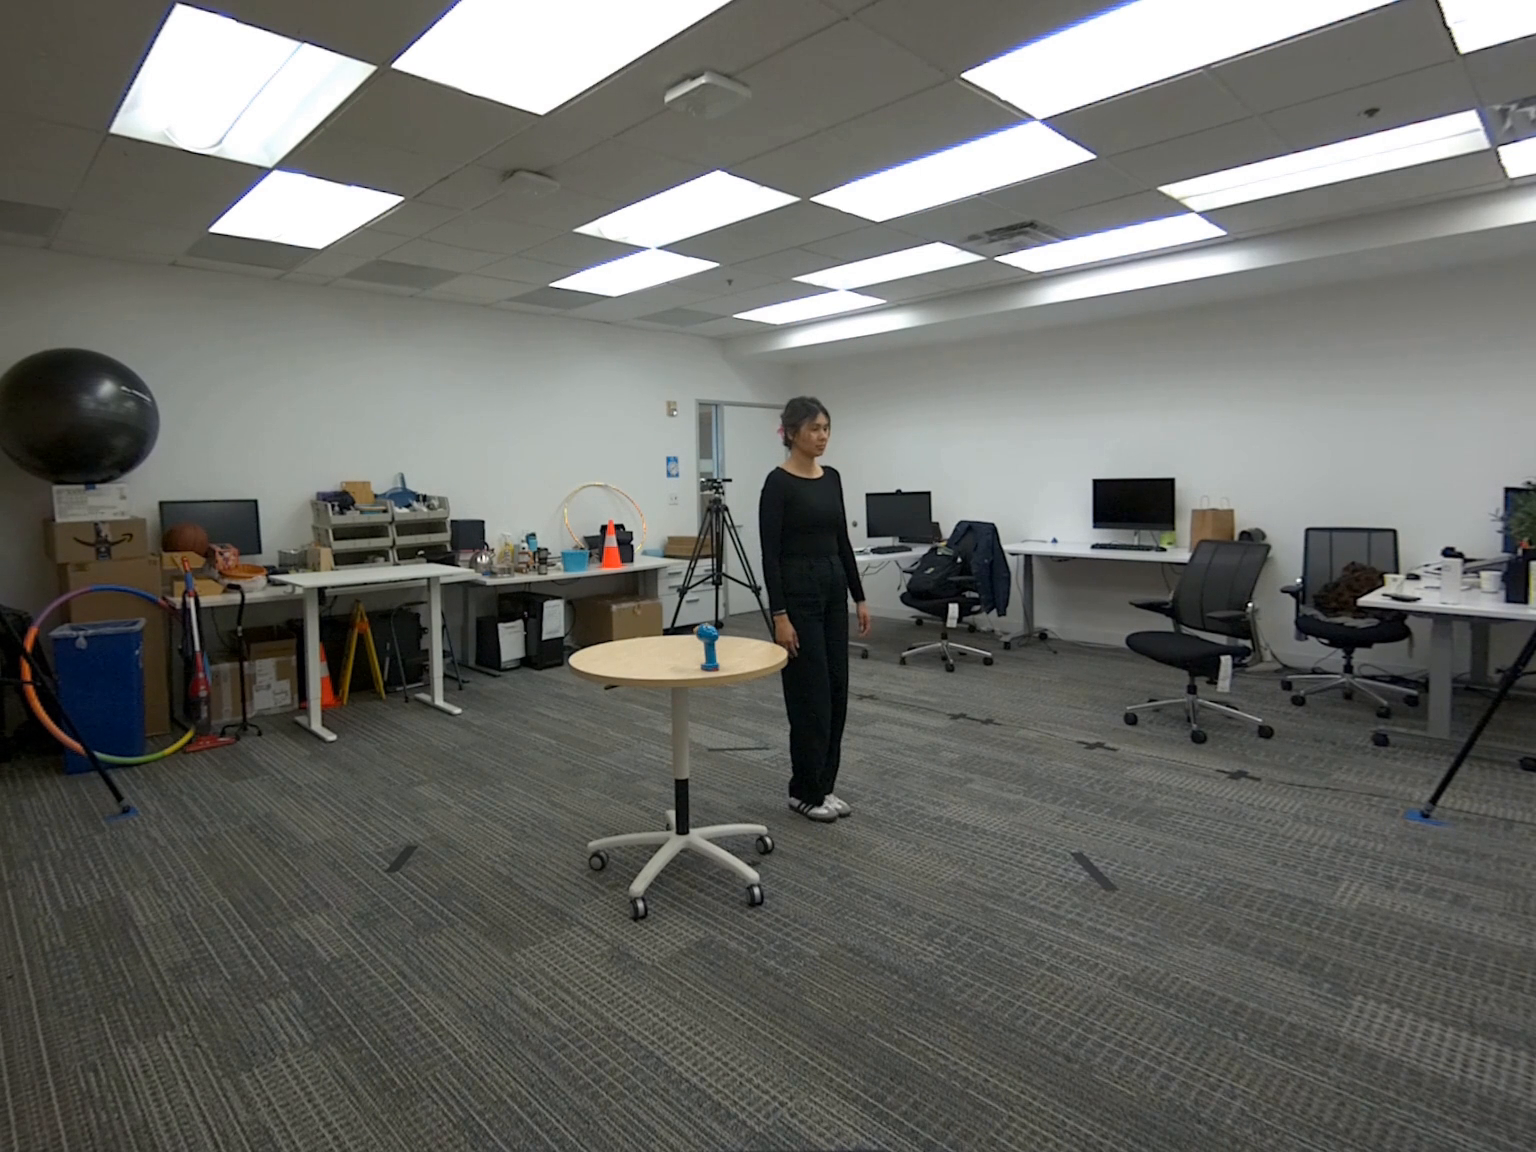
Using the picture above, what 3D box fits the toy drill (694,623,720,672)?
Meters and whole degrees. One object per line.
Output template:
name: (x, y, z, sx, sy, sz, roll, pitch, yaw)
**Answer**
toy drill: (-0.200, 0.225, 2.787, 0.060, 0.145, 0.174, -3, 5, -26)
